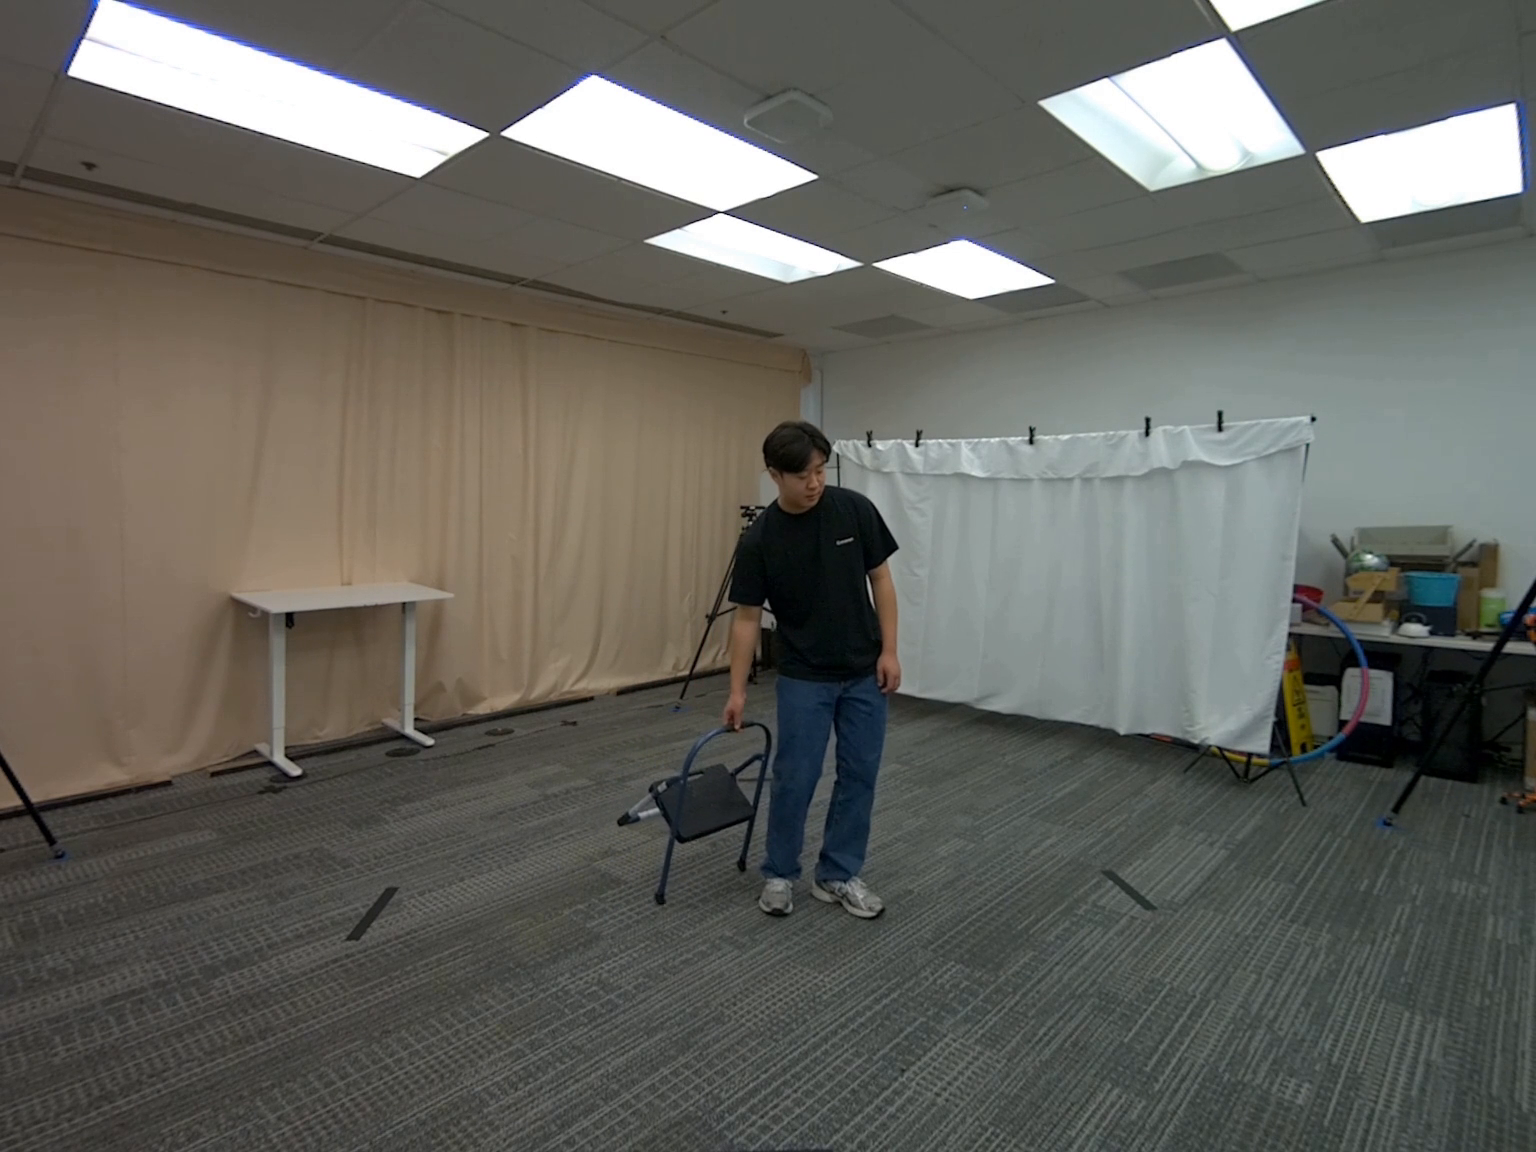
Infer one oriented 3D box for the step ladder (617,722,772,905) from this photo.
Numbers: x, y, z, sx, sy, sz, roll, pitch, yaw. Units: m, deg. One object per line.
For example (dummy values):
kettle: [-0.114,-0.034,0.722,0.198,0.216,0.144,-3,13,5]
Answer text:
step ladder: [-0.202,0.796,3.031,0.417,0.605,0.360,-4,44,-43]
